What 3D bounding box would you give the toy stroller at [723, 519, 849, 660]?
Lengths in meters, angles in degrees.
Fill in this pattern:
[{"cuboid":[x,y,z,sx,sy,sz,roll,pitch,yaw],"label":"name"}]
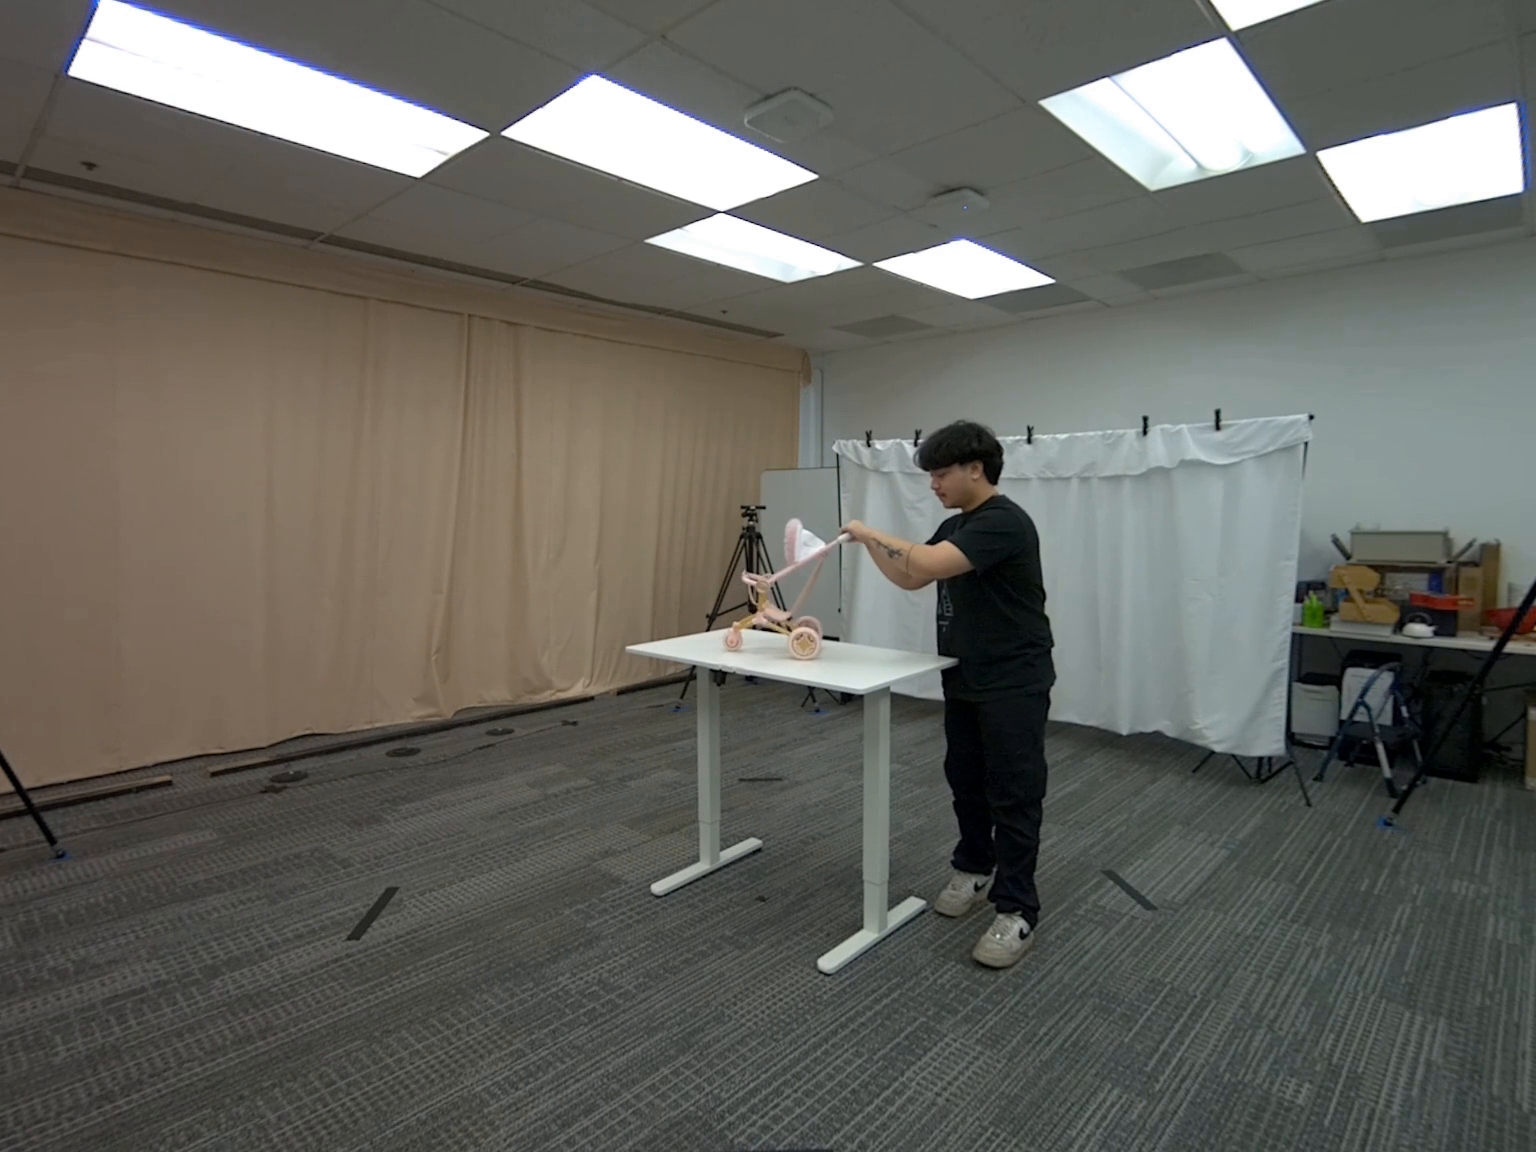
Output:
[{"cuboid":[0.078,0.046,2.909,0.346,0.534,0.278,16,6,11],"label":"toy stroller"}]
